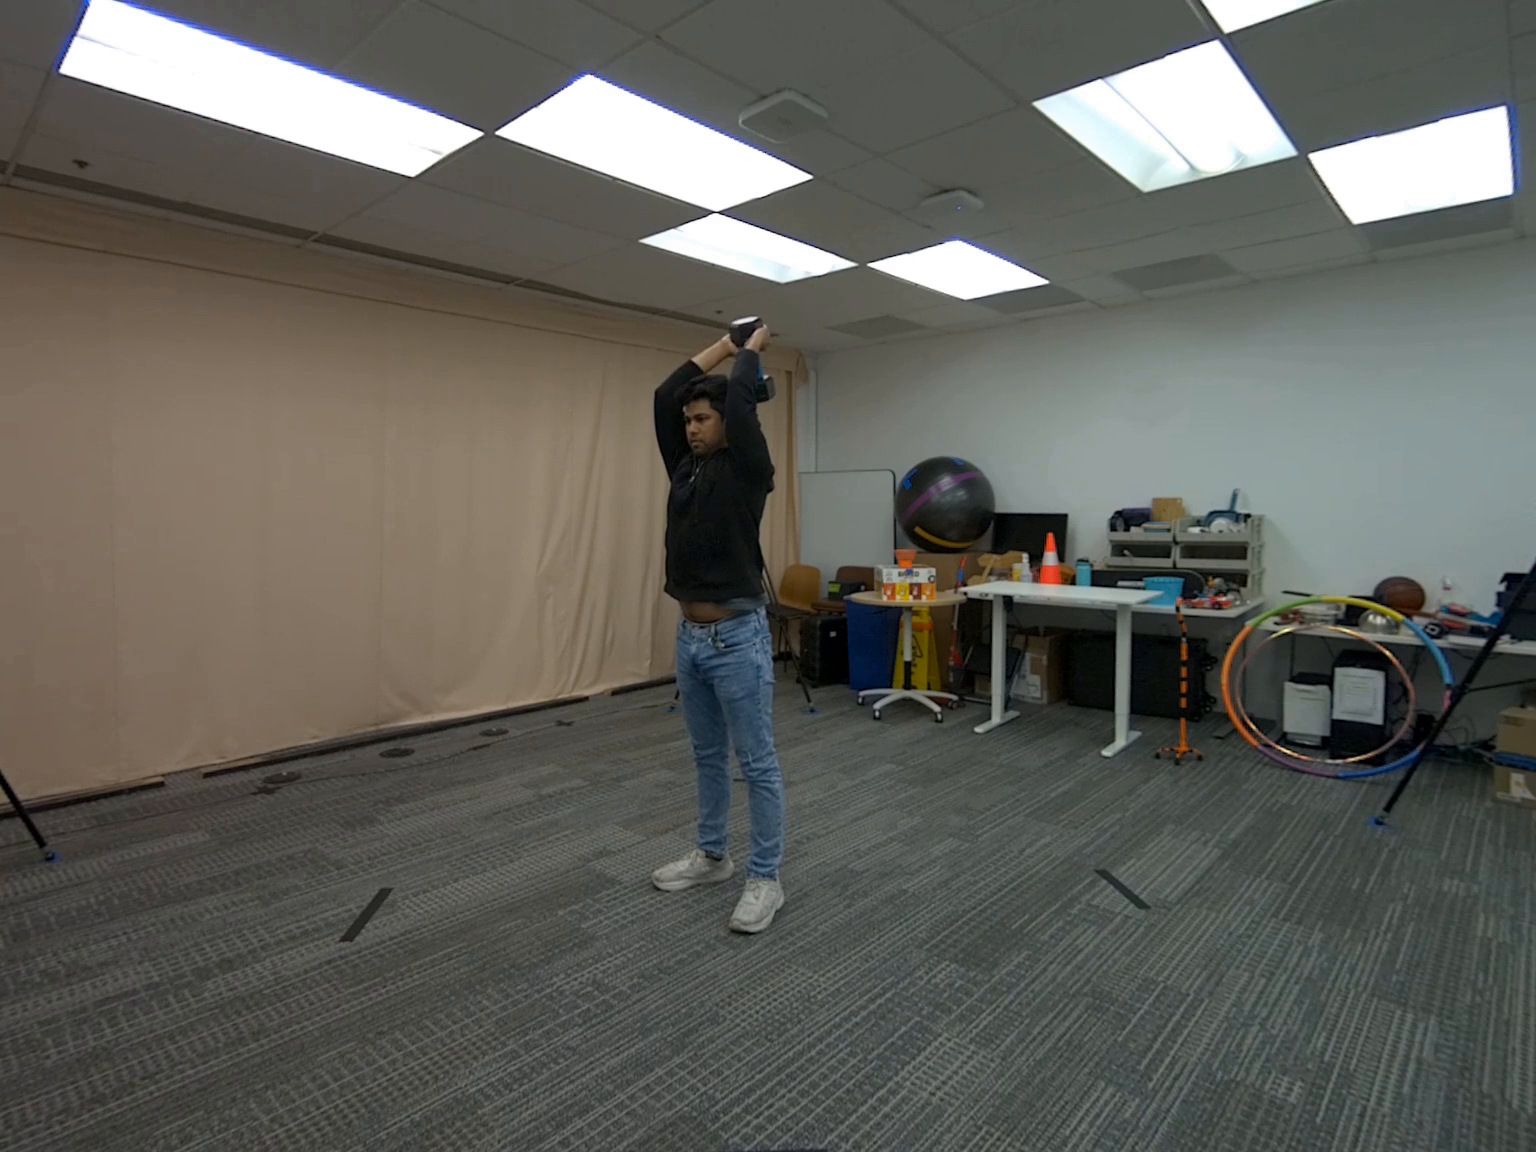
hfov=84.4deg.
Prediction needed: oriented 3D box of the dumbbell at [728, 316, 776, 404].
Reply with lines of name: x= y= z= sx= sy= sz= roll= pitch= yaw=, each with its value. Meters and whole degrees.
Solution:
dumbbell: x=-0.053 y=-0.760 z=3.021 sx=0.107 sy=0.288 sz=0.127 roll=-23 pitch=25 yaw=-26
